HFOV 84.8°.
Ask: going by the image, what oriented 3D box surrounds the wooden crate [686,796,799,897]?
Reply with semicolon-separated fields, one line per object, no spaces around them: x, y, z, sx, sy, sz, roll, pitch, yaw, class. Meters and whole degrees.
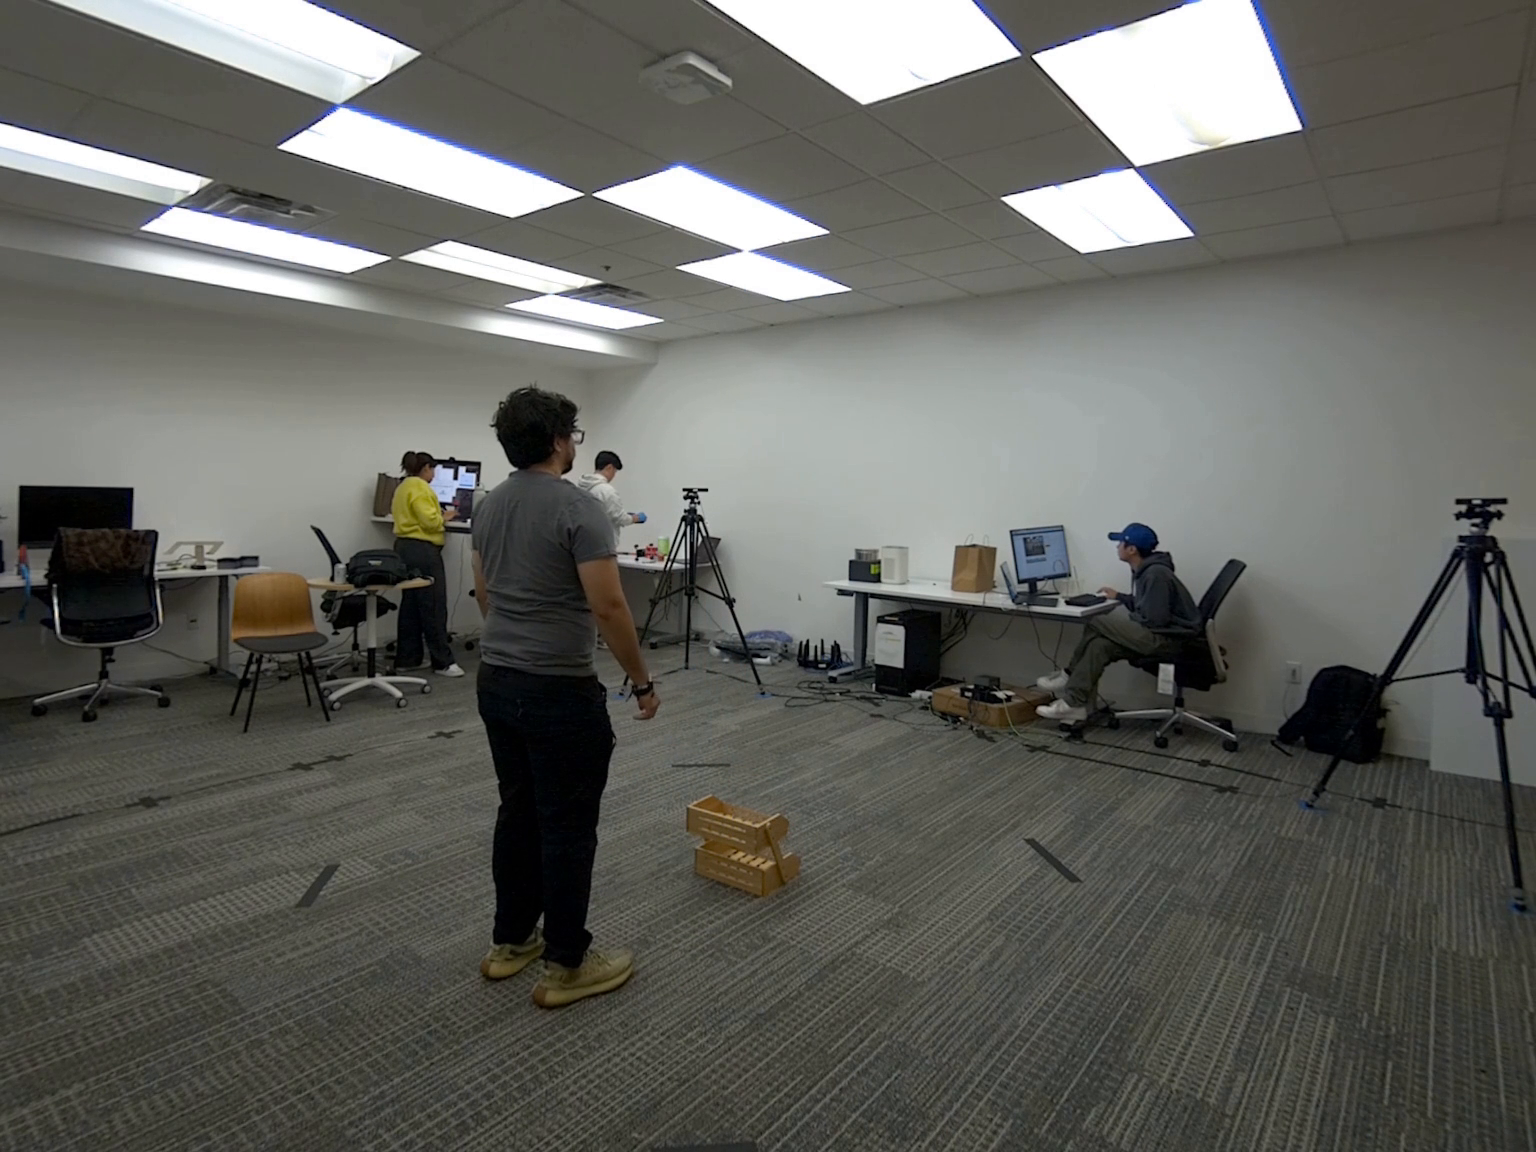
-0.094;0.942;3.063;0.335;0.272;0.294;4;5;34;wooden crate
